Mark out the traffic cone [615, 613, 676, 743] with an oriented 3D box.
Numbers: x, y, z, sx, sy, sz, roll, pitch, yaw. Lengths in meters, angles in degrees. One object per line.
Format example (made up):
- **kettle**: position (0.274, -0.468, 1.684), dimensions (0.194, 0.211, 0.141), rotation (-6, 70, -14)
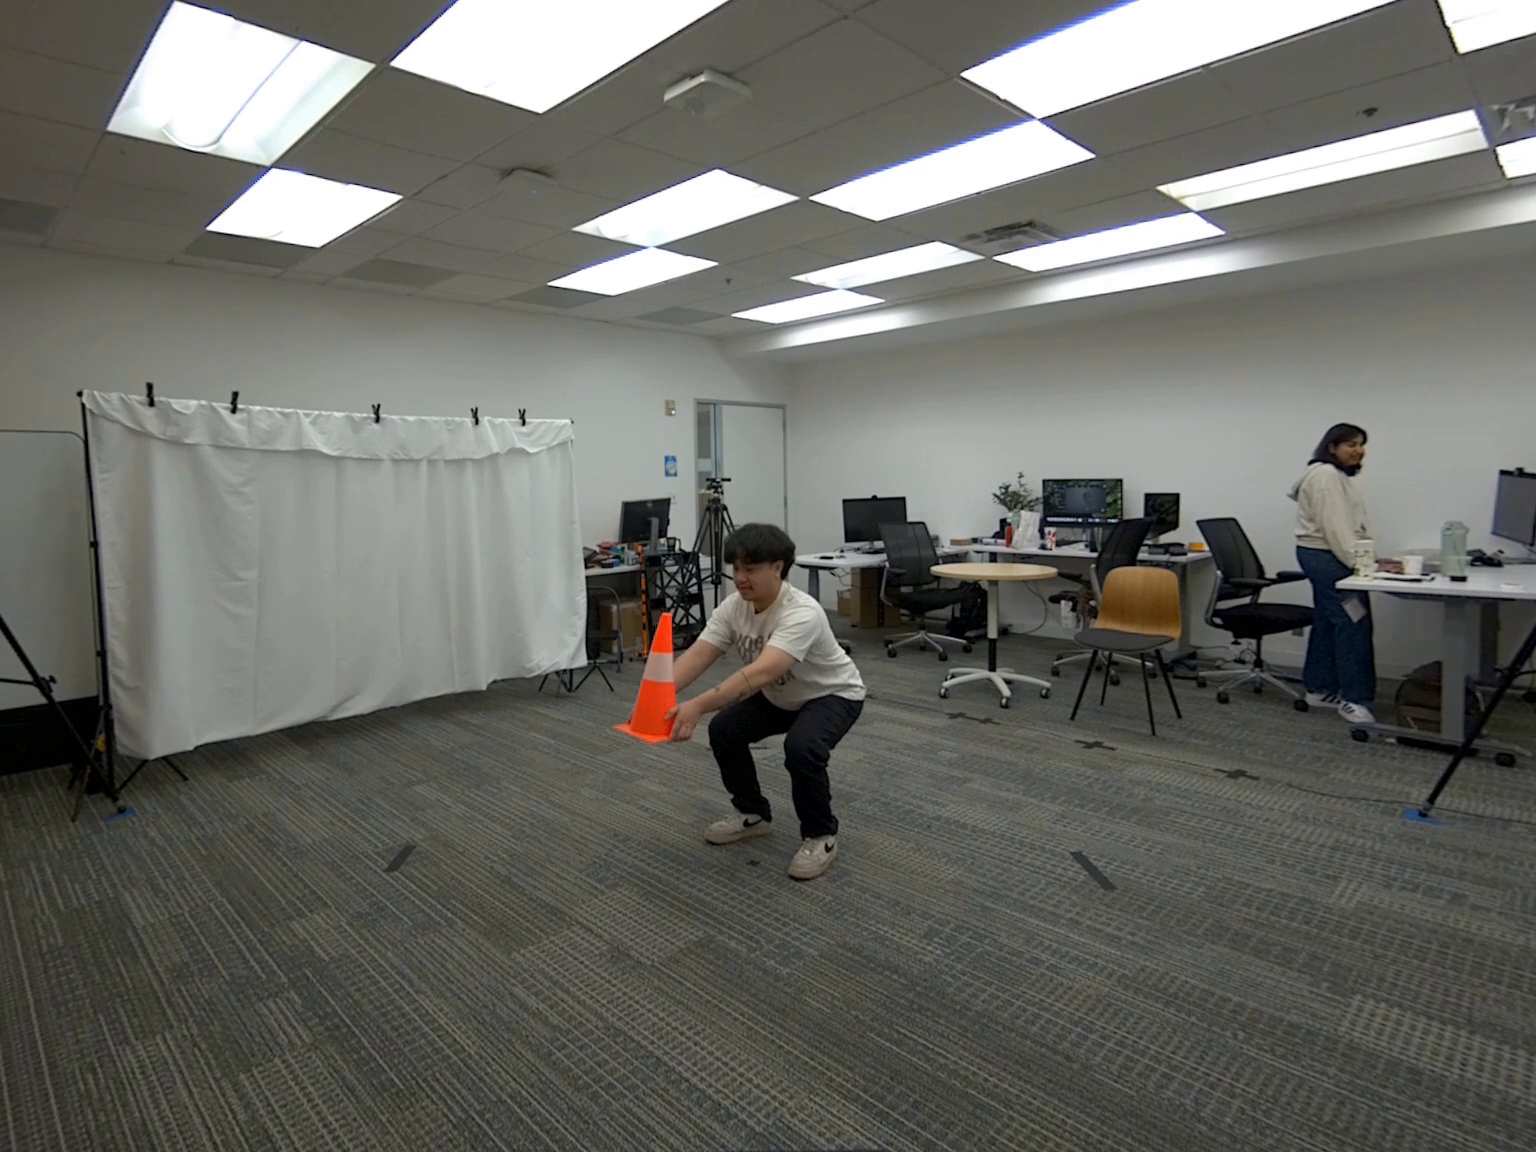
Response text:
- **traffic cone**: position (-0.345, 0.306, 2.748), dimensions (0.211, 0.383, 0.198), rotation (5, 2, 33)
